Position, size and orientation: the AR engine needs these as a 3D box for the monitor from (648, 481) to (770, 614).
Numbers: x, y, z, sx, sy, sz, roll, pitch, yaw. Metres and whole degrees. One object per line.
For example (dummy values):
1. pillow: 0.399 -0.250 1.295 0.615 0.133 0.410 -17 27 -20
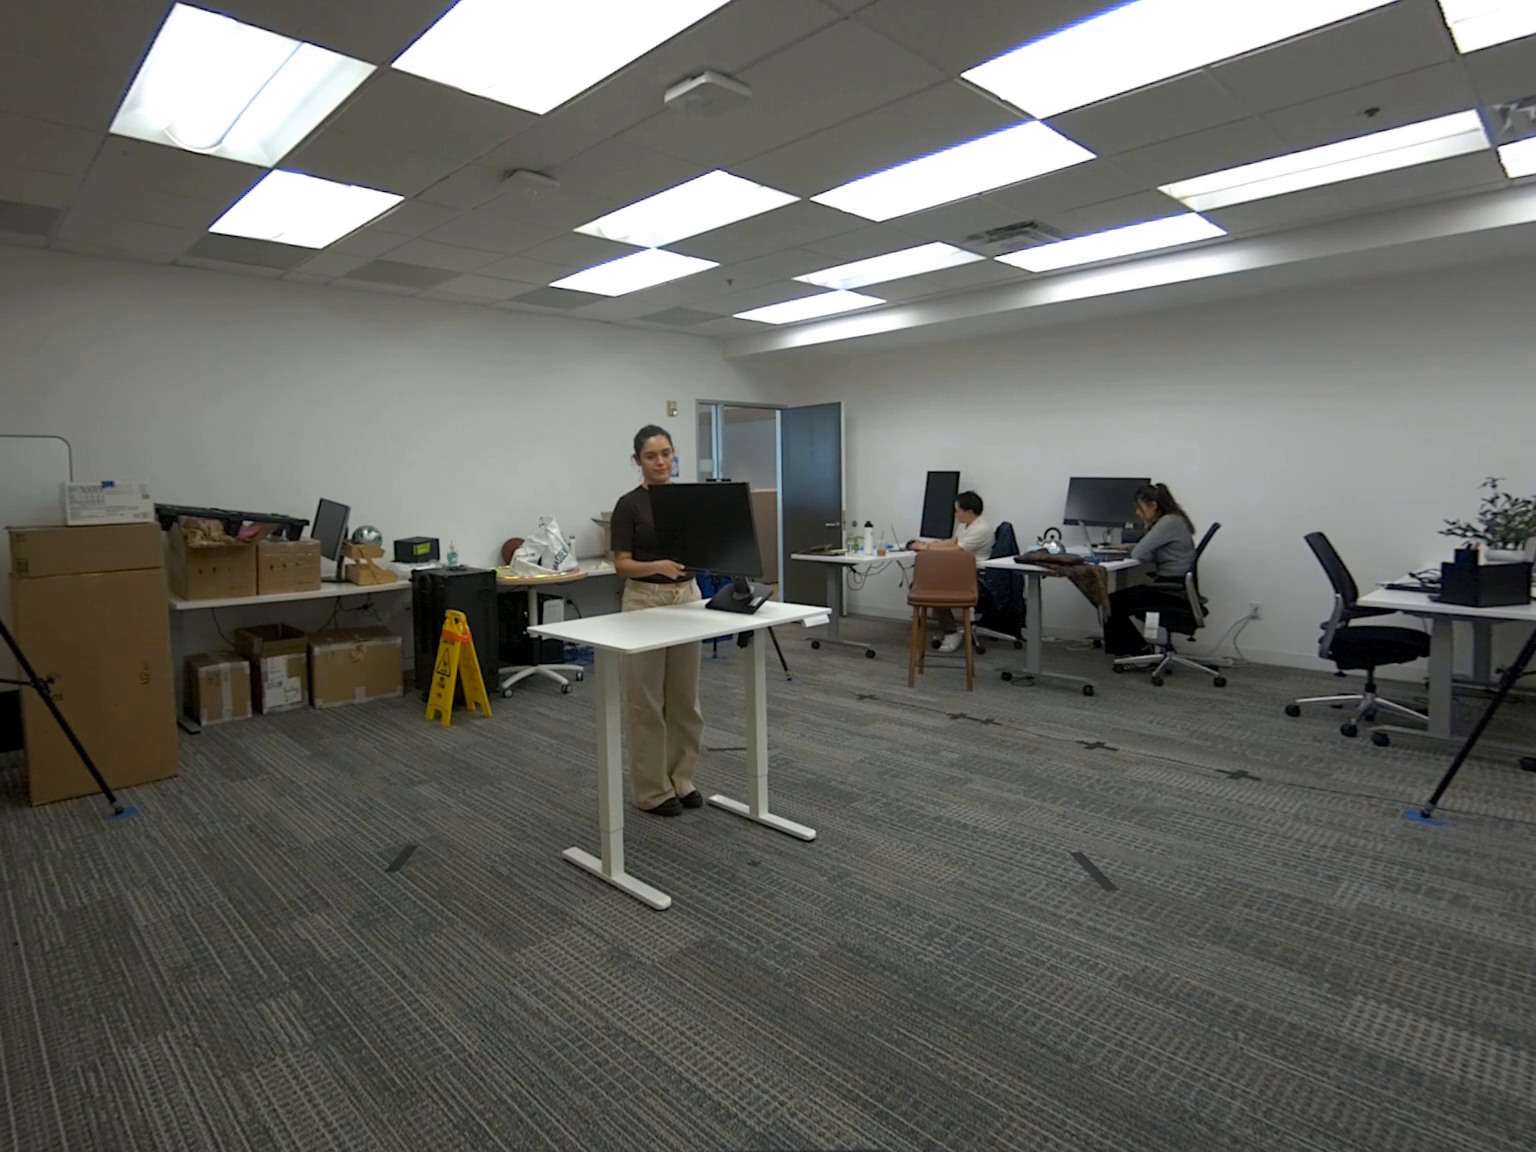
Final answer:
1. monitor: -0.186 -0.118 3.271 0.555 0.510 0.186 3 30 42
